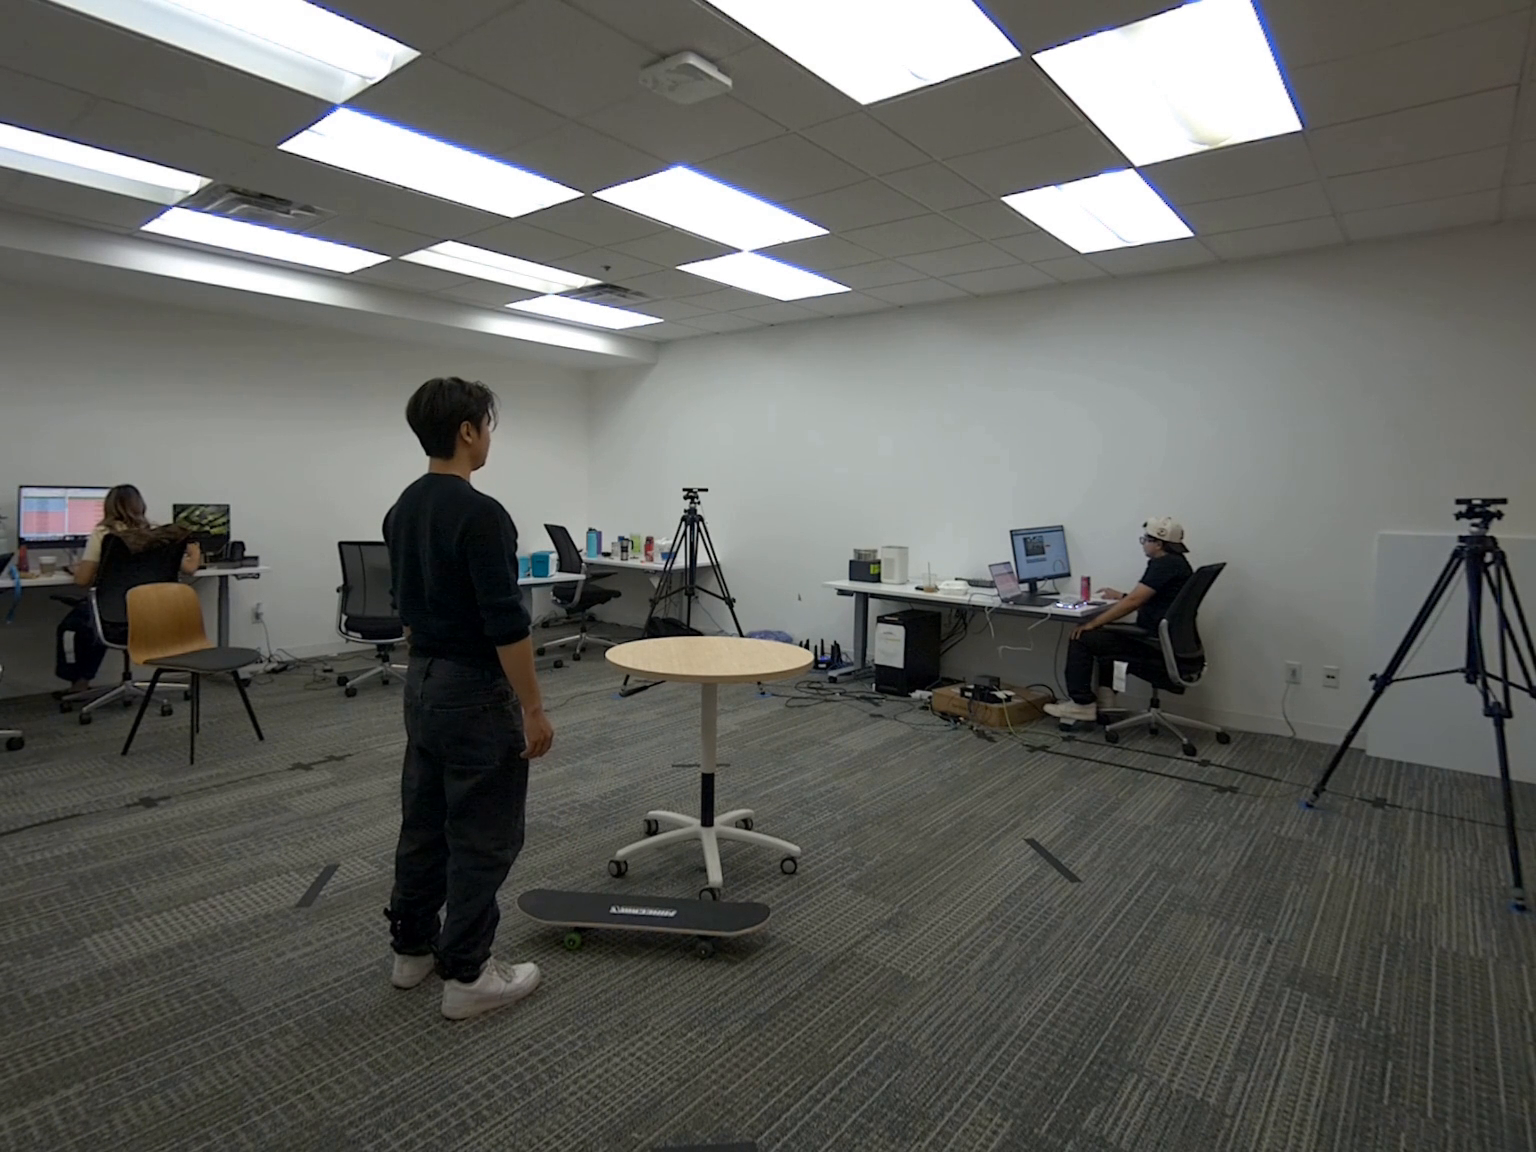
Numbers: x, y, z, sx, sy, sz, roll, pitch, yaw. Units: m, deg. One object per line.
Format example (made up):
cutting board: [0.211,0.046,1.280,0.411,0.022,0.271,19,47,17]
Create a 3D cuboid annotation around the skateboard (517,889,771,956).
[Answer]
skateboard: [-0.392,1.057,2.611,0.790,0.110,0.193,1,5,5]
